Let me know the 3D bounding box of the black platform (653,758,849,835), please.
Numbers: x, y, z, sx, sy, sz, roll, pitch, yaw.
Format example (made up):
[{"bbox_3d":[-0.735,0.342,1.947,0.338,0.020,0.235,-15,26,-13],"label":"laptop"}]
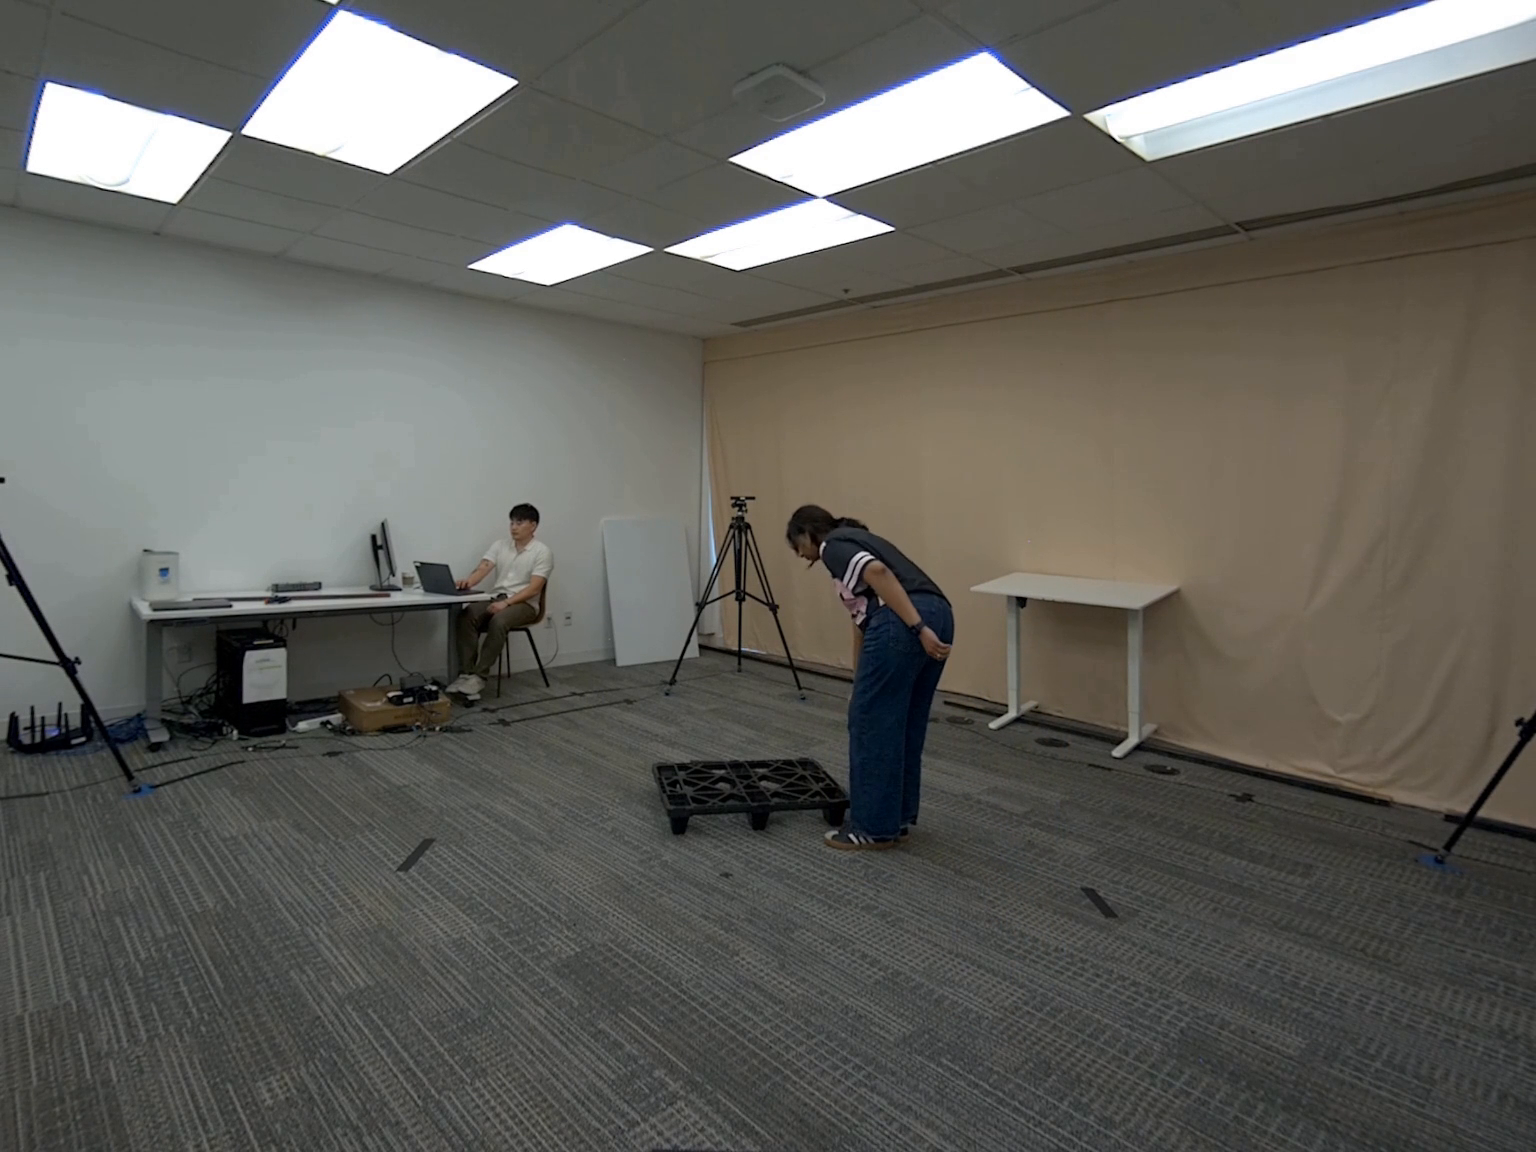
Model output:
[{"bbox_3d":[-0.092,0.978,3.763,0.798,0.143,0.613,0,5,-12],"label":"black platform"}]
